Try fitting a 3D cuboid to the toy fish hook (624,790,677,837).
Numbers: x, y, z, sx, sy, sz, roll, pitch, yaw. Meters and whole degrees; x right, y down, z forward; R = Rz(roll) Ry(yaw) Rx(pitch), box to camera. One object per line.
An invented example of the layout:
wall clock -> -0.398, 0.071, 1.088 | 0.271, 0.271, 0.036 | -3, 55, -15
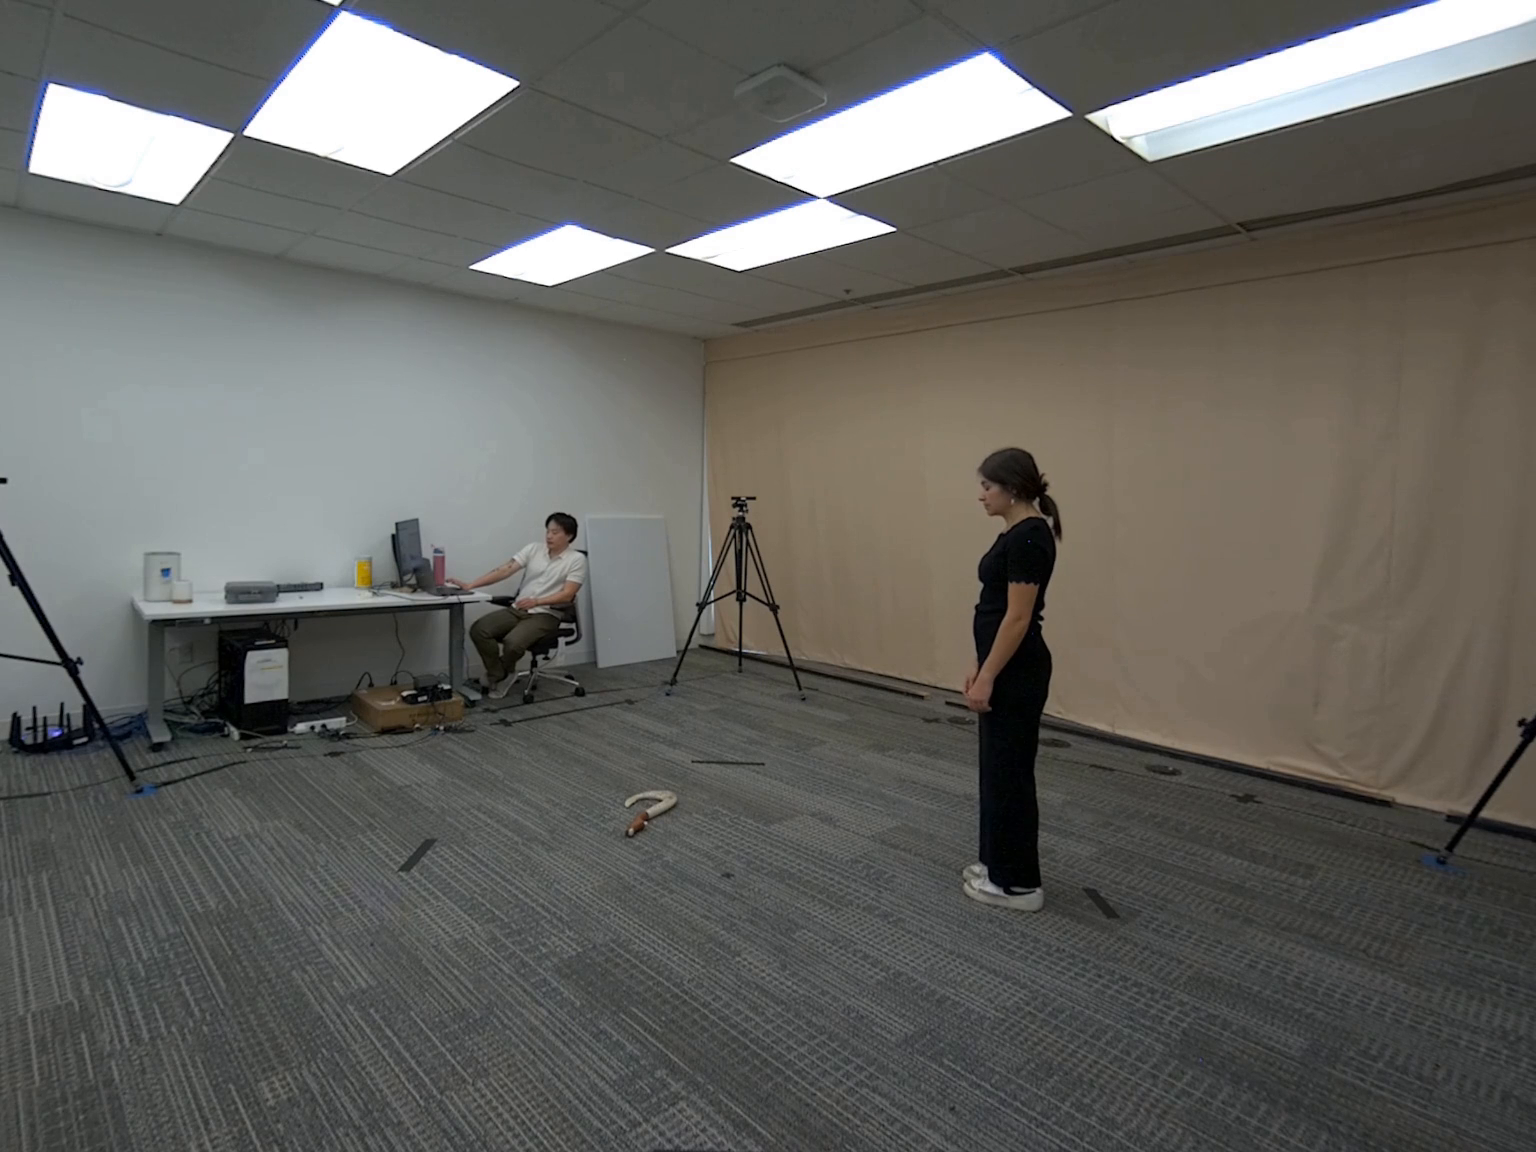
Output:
toy fish hook -> -0.568, 1.028, 3.671 | 0.227, 0.048, 0.501 | -5, 2, 15
